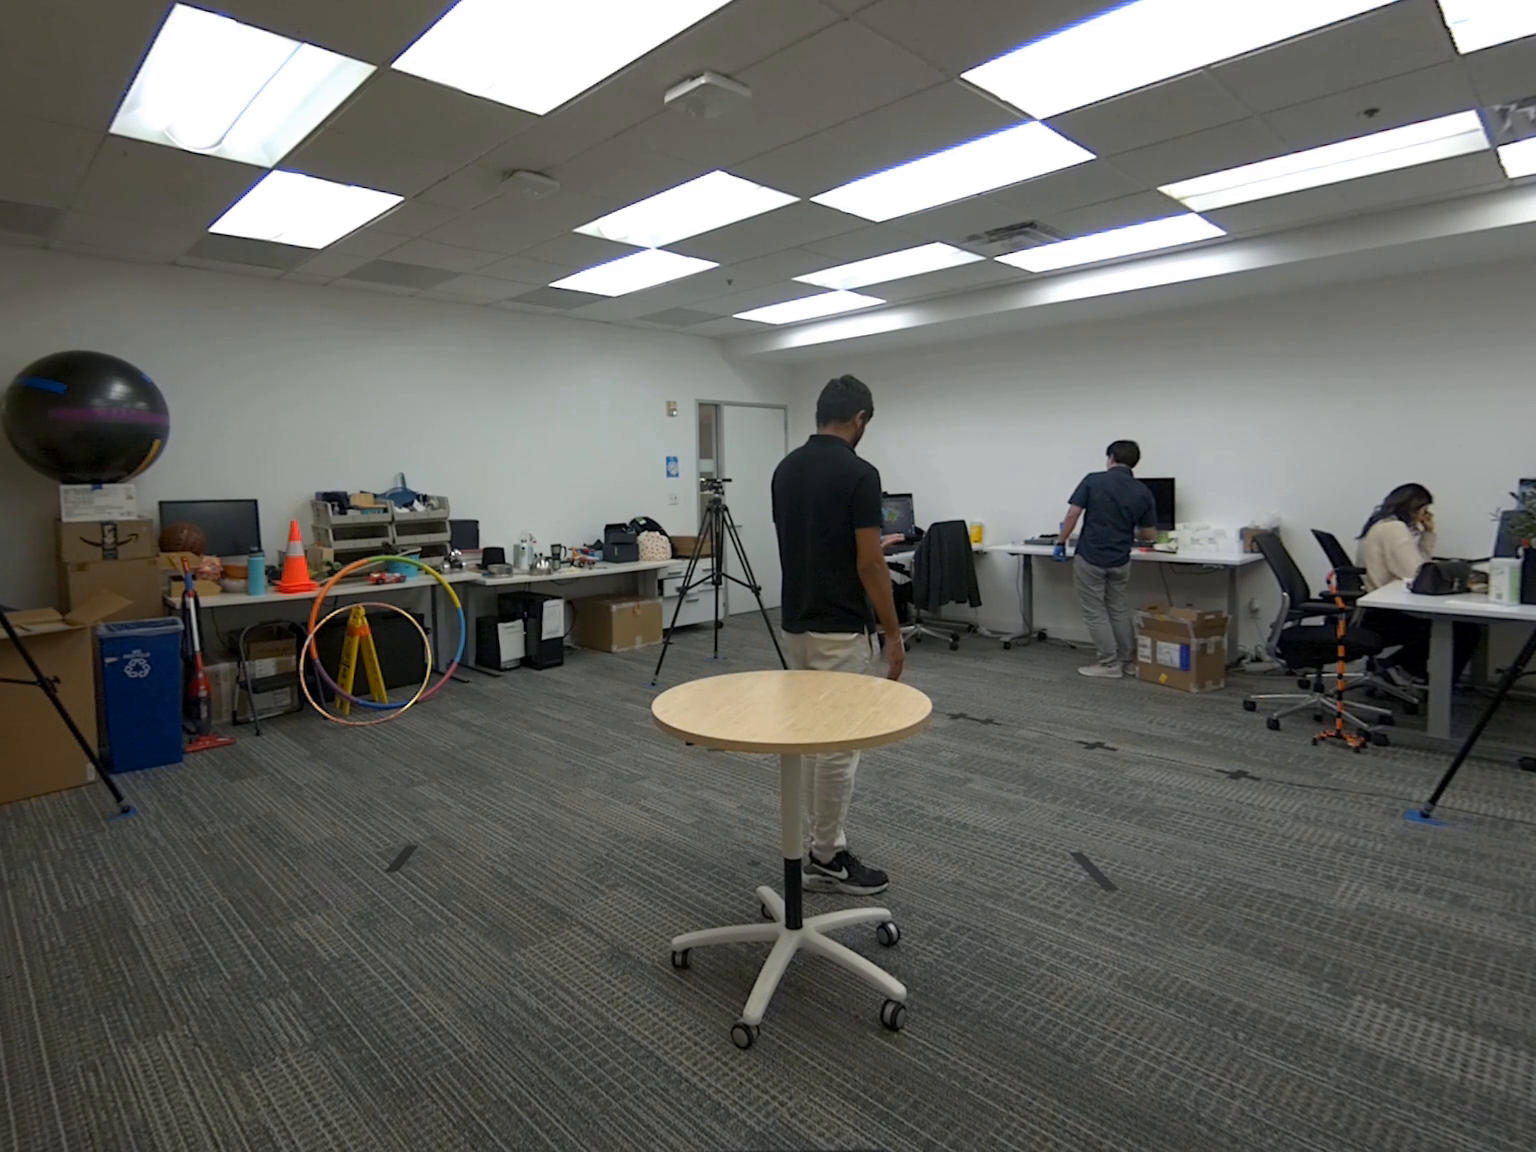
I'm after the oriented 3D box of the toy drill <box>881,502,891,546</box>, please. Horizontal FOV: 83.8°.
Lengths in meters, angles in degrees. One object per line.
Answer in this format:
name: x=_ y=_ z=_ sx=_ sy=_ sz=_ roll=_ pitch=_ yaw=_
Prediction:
toy drill: x=0.383 y=-0.203 z=3.179 sx=0.060 sy=0.144 sz=0.174 roll=-5 pitch=14 yaw=-19
